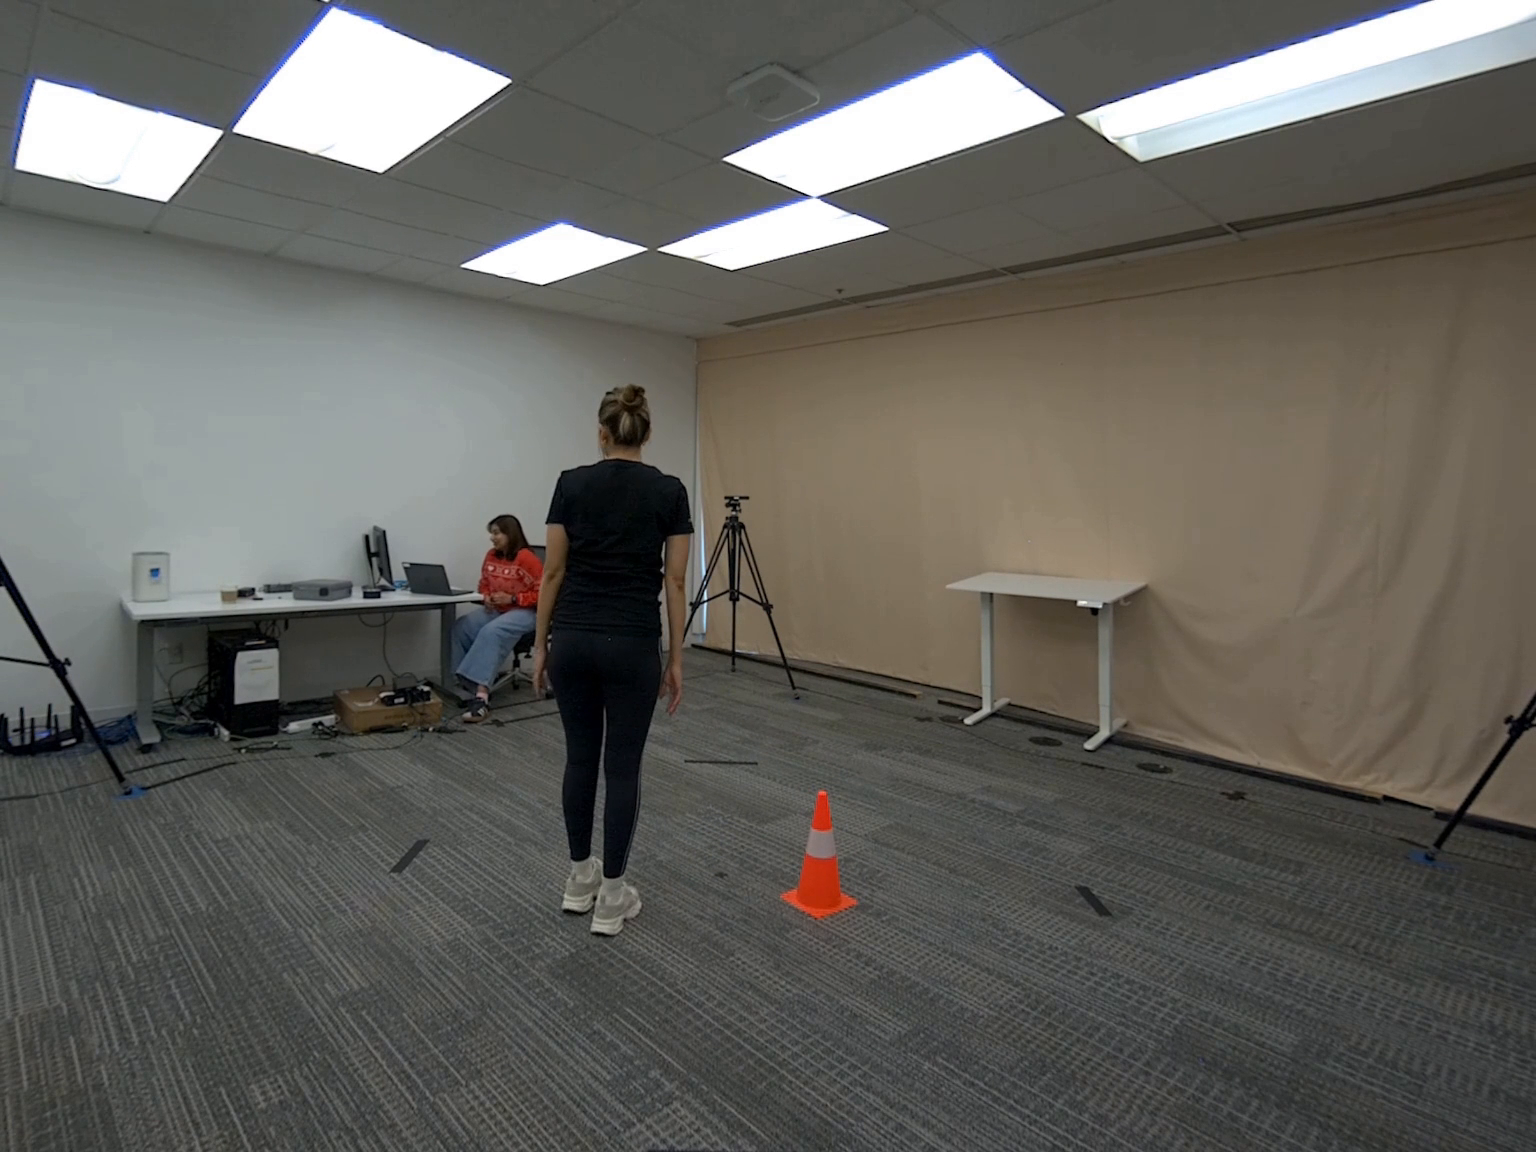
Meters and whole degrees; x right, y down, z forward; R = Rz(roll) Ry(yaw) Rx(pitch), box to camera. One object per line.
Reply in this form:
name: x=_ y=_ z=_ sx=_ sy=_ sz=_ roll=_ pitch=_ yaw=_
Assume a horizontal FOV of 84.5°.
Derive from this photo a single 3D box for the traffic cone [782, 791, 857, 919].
traffic cone: x=0.173 y=0.945 z=2.919 sx=0.200 sy=0.382 sz=0.208 roll=-3 pitch=5 yaw=-38
